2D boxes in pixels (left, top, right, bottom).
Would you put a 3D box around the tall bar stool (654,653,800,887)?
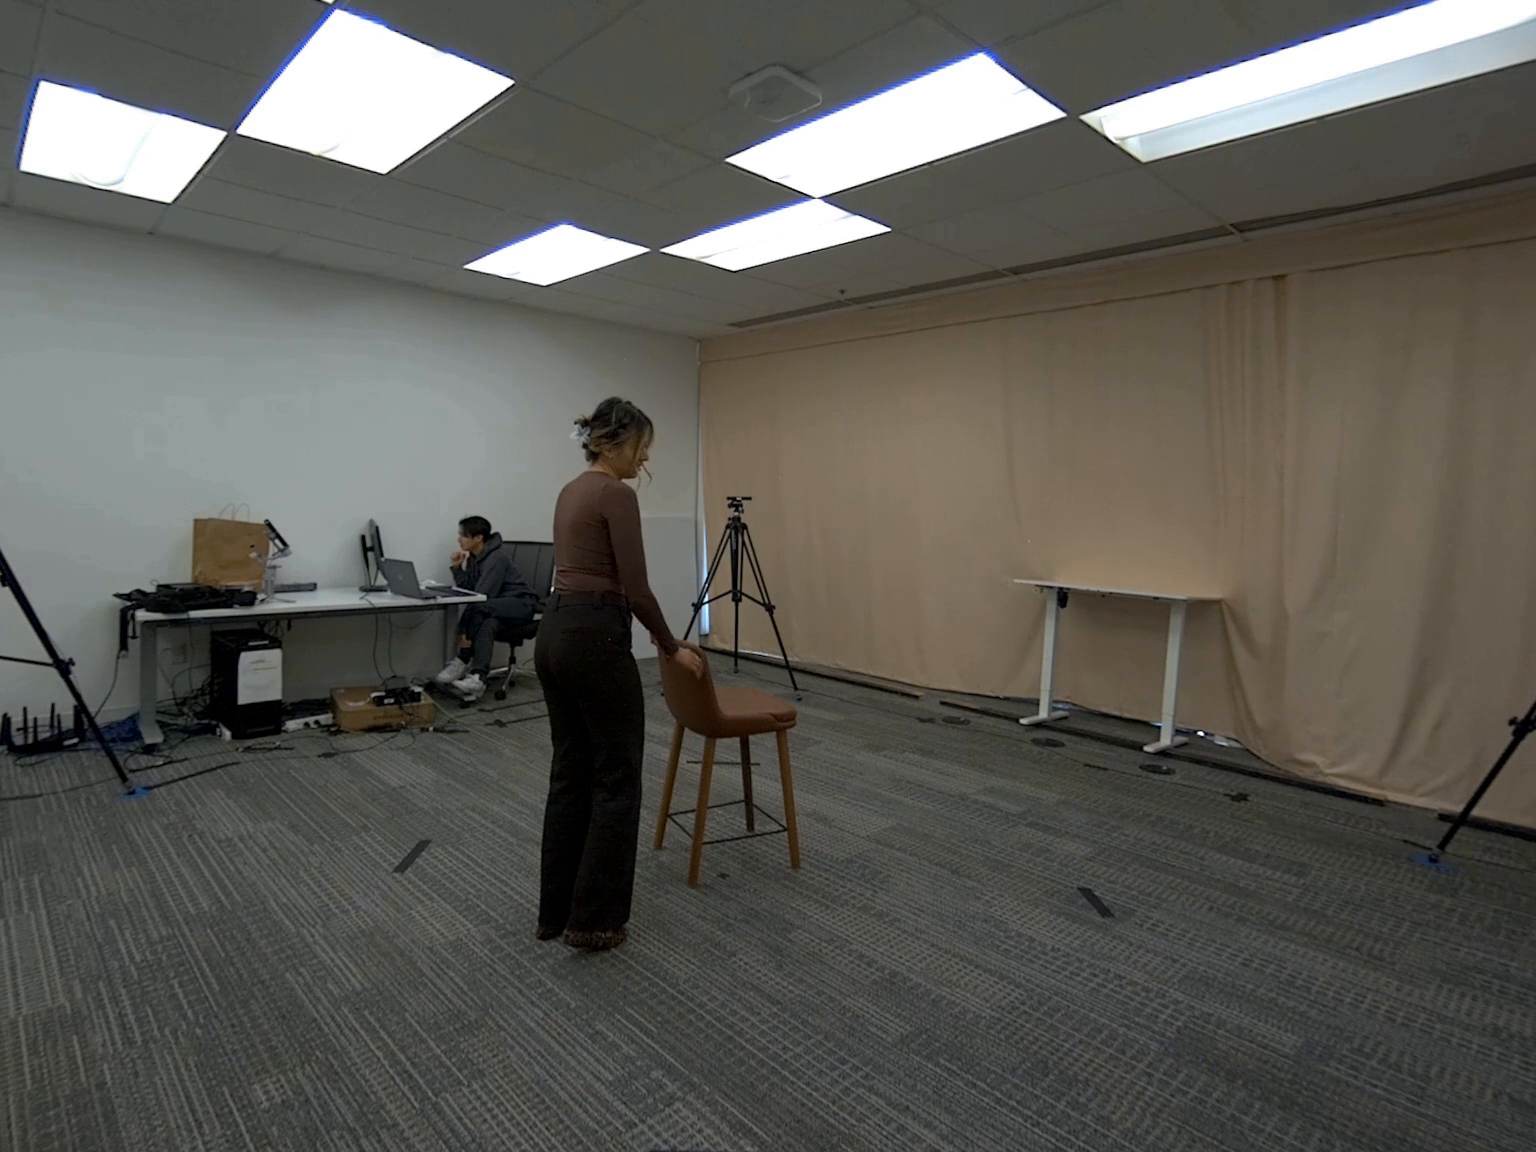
[{"bbox_3d":[-0.169,0.658,3.239,0.459,0.887,0.466,-3,5,-28],"label":"tall bar stool"}]
